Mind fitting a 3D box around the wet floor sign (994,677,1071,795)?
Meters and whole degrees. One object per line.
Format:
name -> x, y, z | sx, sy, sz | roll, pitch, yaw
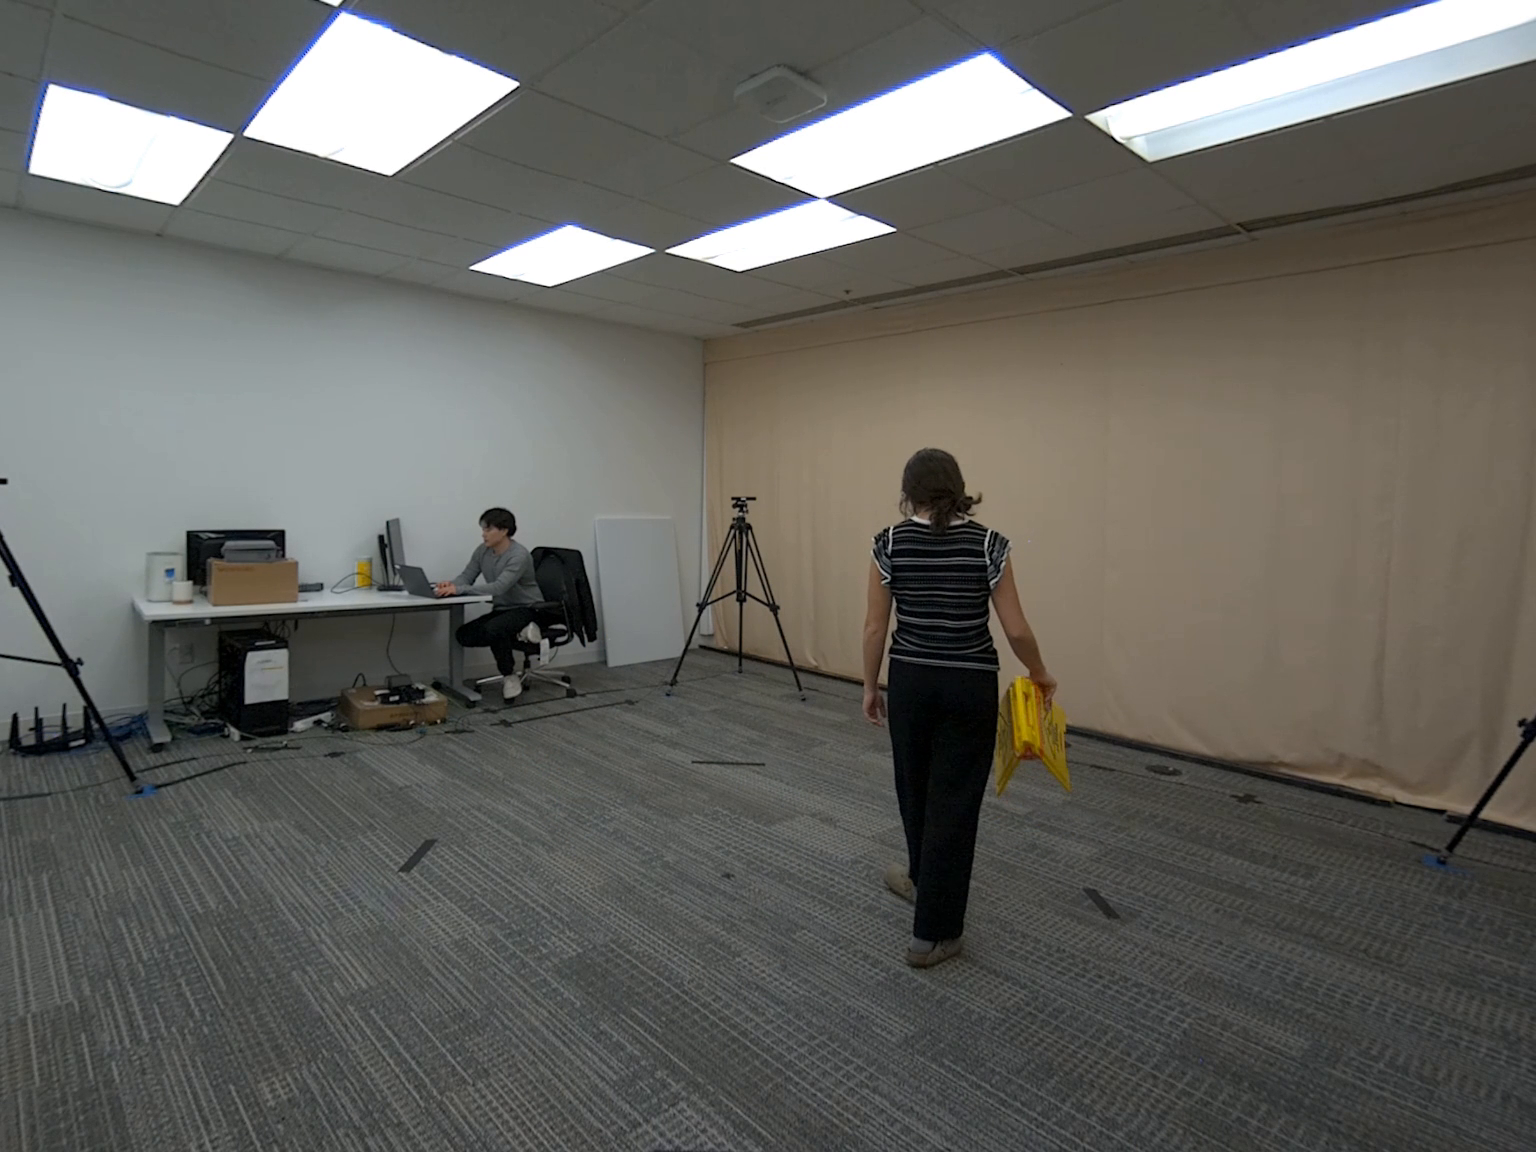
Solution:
wet floor sign -> 0.828, 0.509, 2.711 | 0.293, 0.287, 0.628 | -7, -26, 16
